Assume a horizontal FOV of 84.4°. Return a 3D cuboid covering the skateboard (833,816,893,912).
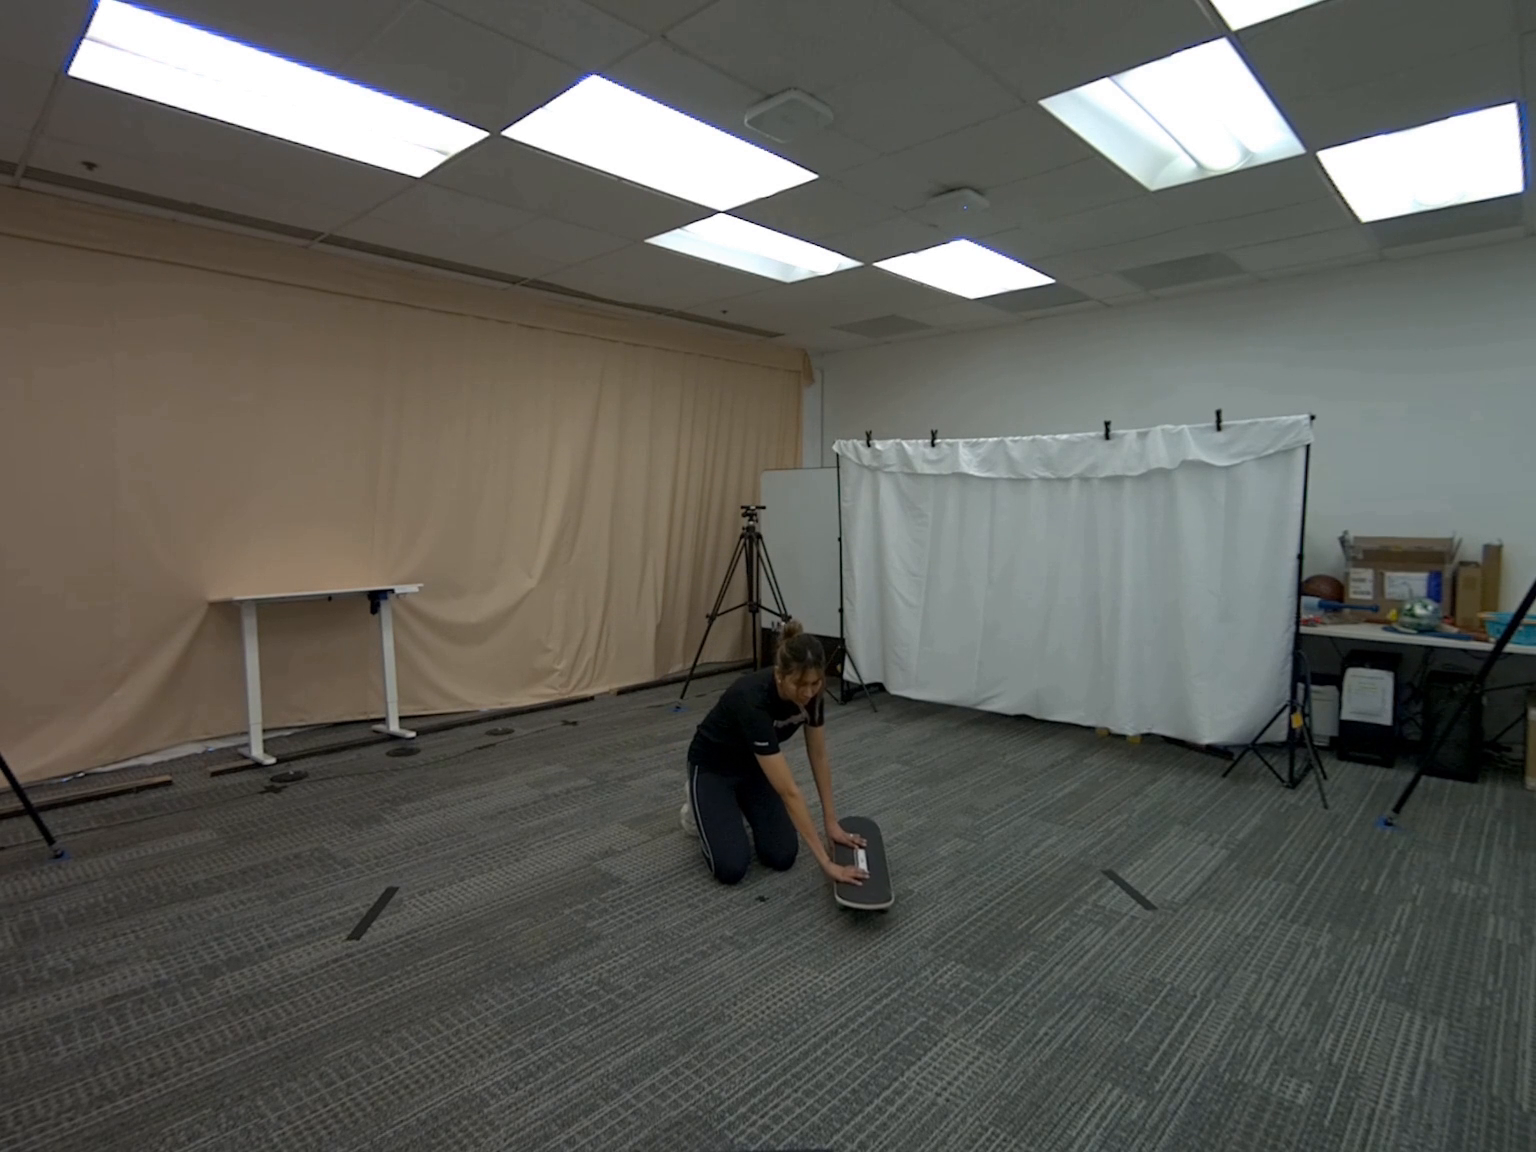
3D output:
[{"bbox_3d":[0.341,1.069,3.099,0.194,0.110,0.783,0,5,3],"label":"skateboard"}]
